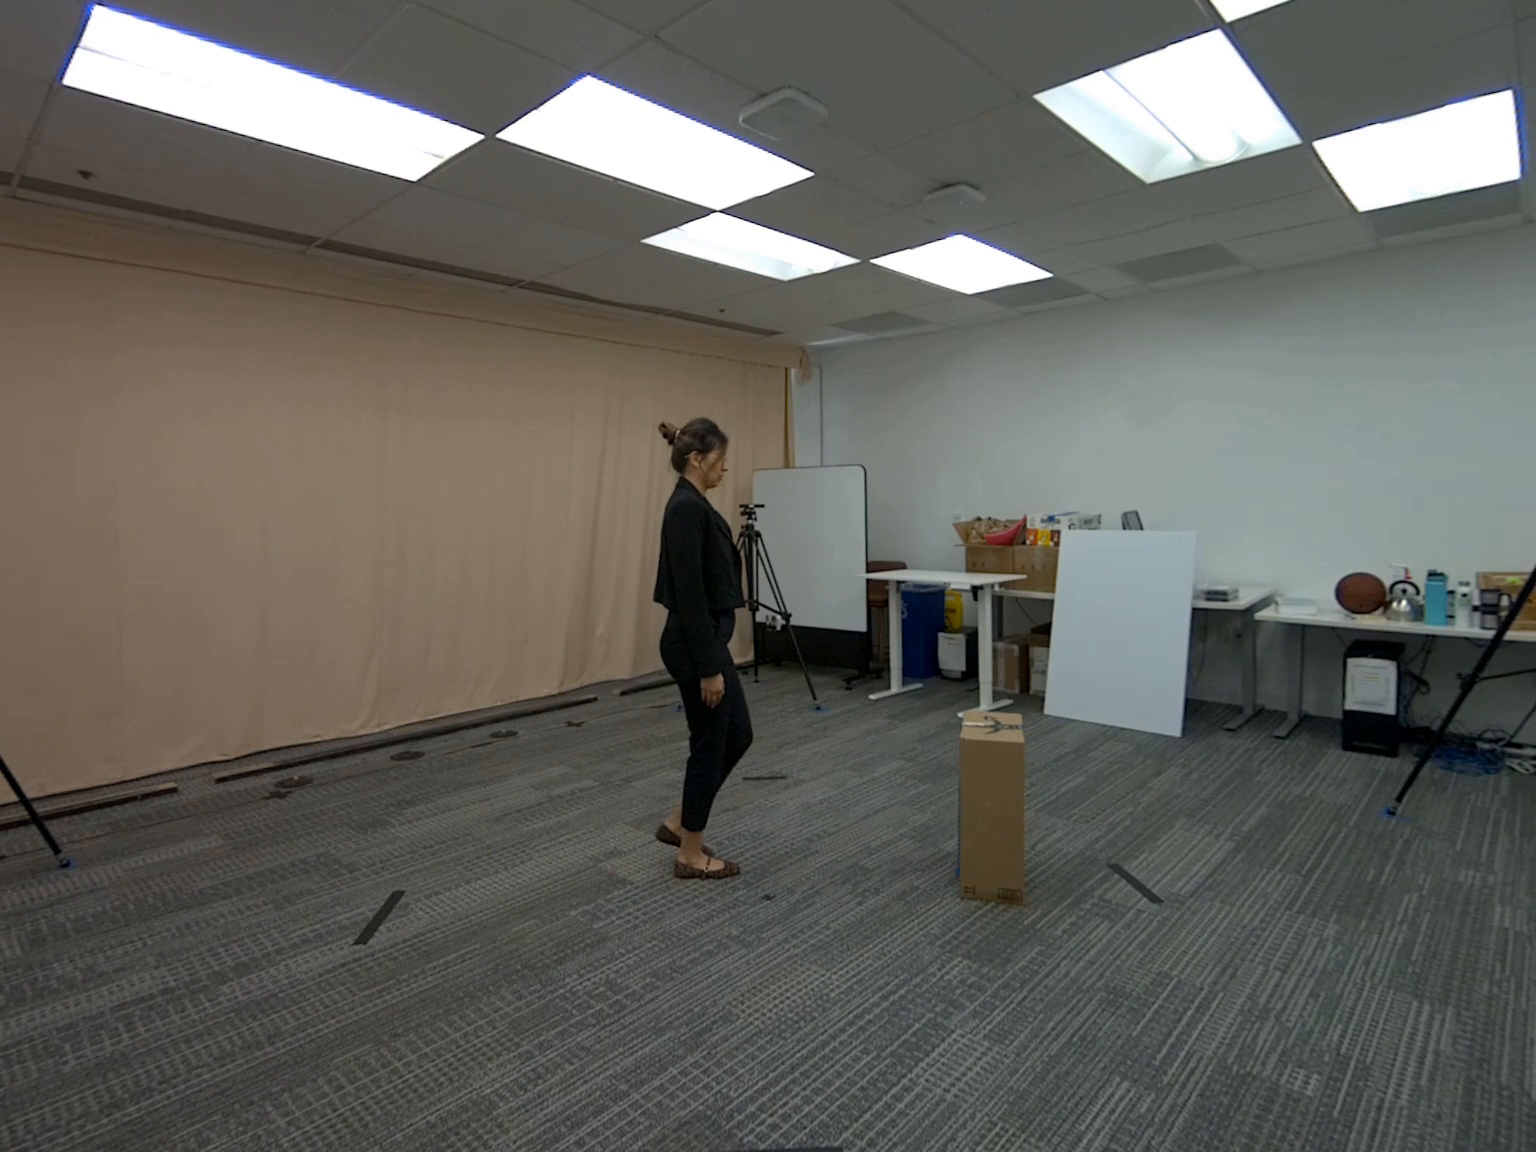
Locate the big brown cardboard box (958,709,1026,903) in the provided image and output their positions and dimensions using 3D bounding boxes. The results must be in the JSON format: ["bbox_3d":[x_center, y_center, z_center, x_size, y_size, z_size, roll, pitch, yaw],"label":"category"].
[{"bbox_3d":[0.829,0.837,3.103,0.237,0.588,0.411,1,2,15],"label":"big brown cardboard box"}]
